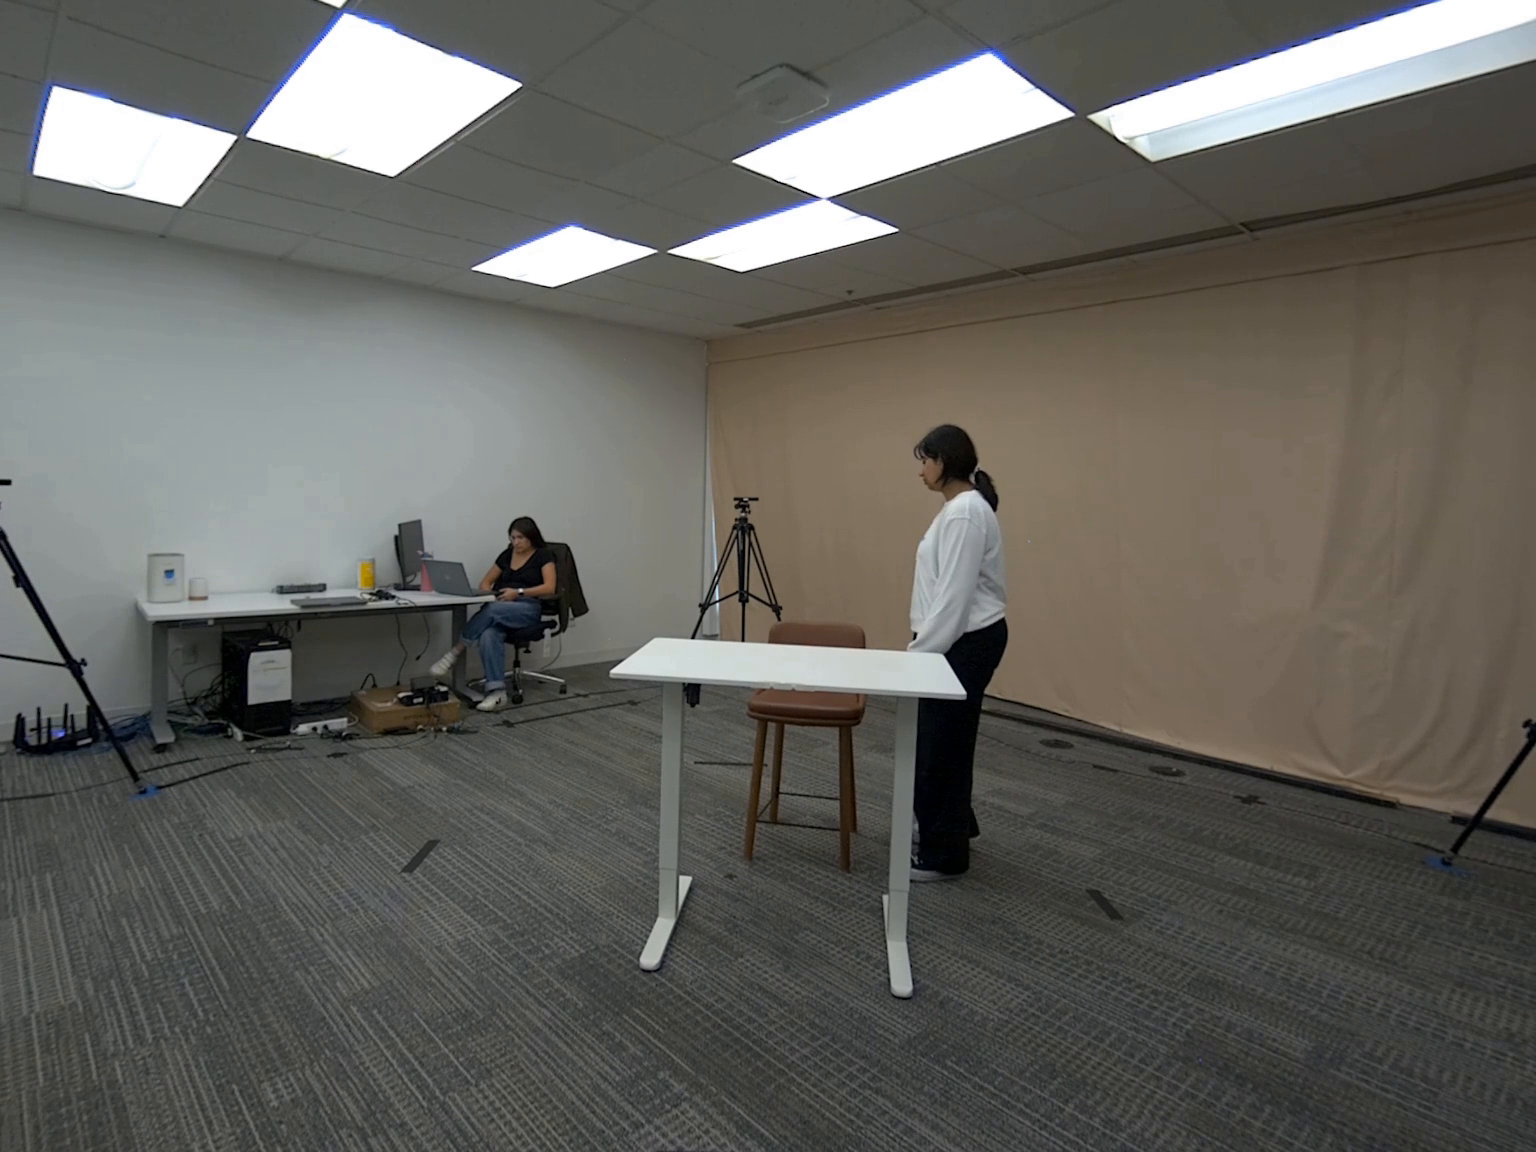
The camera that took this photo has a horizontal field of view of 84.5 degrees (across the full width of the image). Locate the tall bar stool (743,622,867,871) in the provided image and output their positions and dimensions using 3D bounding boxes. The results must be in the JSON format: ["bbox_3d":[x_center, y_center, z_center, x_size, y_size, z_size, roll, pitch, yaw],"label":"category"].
[{"bbox_3d":[0.156,0.653,3.403,0.462,0.889,0.462,3,1,14],"label":"tall bar stool"}]
